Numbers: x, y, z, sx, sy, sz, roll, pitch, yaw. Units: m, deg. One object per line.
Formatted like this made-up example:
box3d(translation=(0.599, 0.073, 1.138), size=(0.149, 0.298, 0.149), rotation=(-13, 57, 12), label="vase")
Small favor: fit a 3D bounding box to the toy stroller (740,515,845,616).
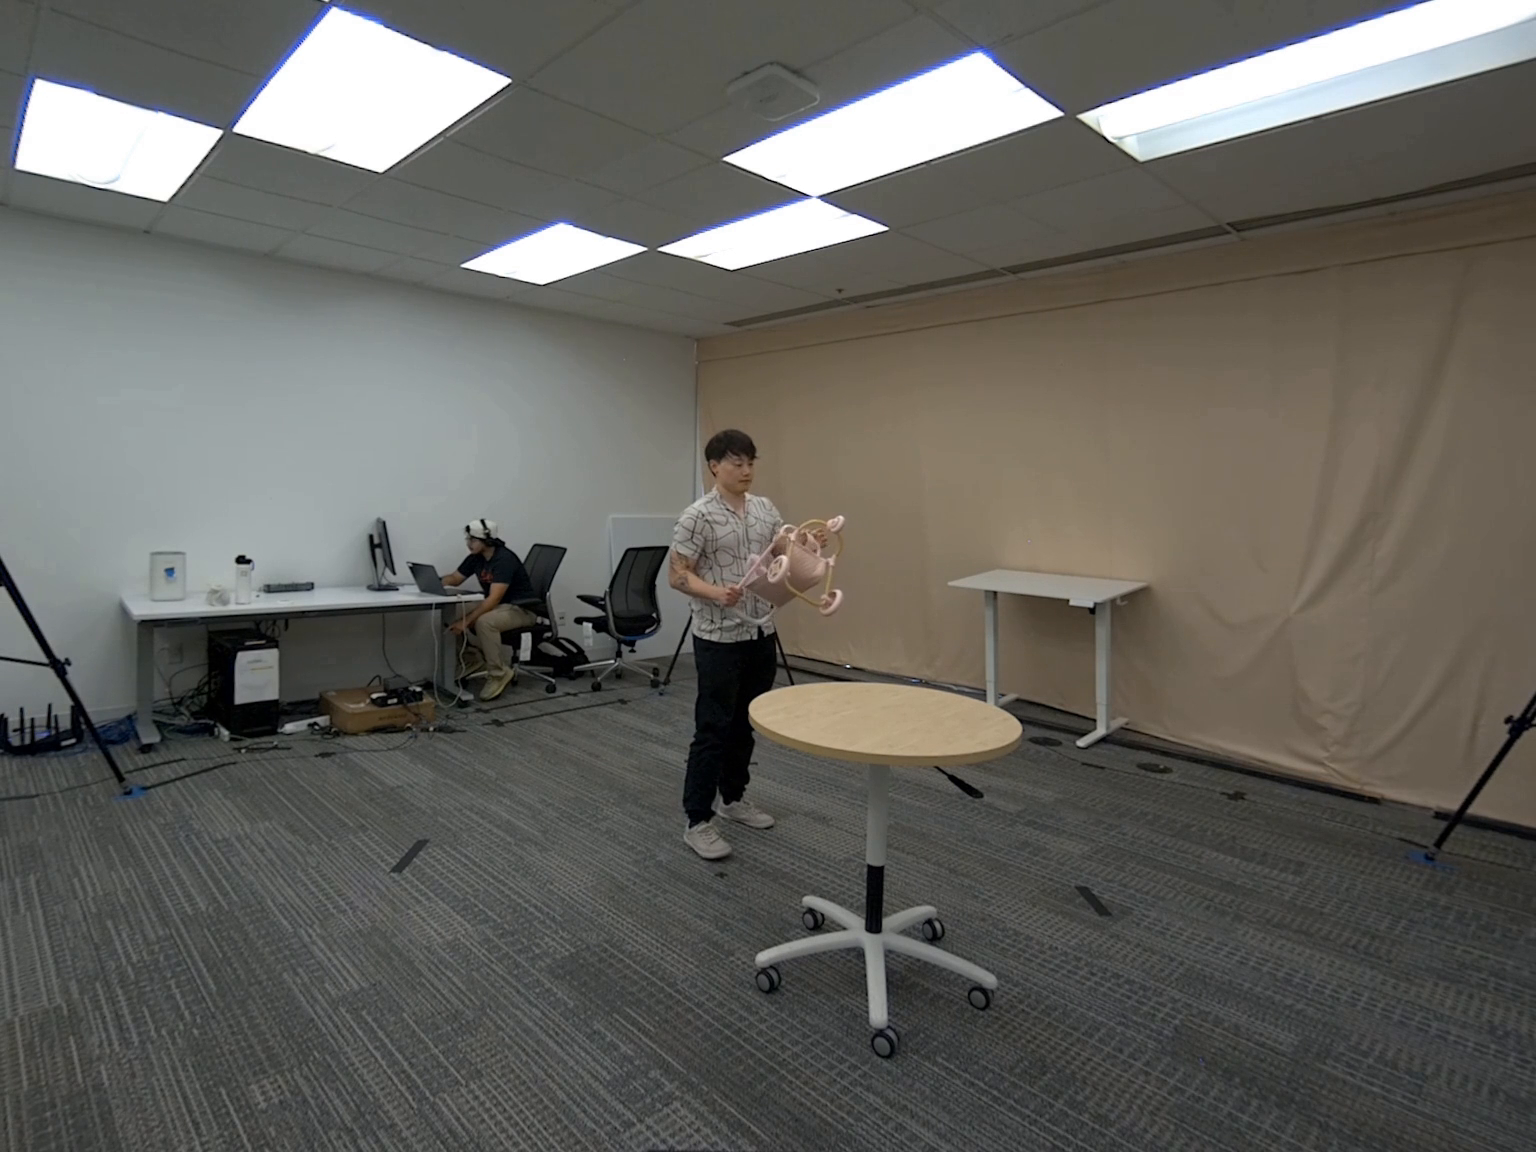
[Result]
box3d(translation=(0.070, -0.029, 3.163), size=(0.275, 0.345, 0.541), rotation=(27, -24, -24), label="toy stroller")
